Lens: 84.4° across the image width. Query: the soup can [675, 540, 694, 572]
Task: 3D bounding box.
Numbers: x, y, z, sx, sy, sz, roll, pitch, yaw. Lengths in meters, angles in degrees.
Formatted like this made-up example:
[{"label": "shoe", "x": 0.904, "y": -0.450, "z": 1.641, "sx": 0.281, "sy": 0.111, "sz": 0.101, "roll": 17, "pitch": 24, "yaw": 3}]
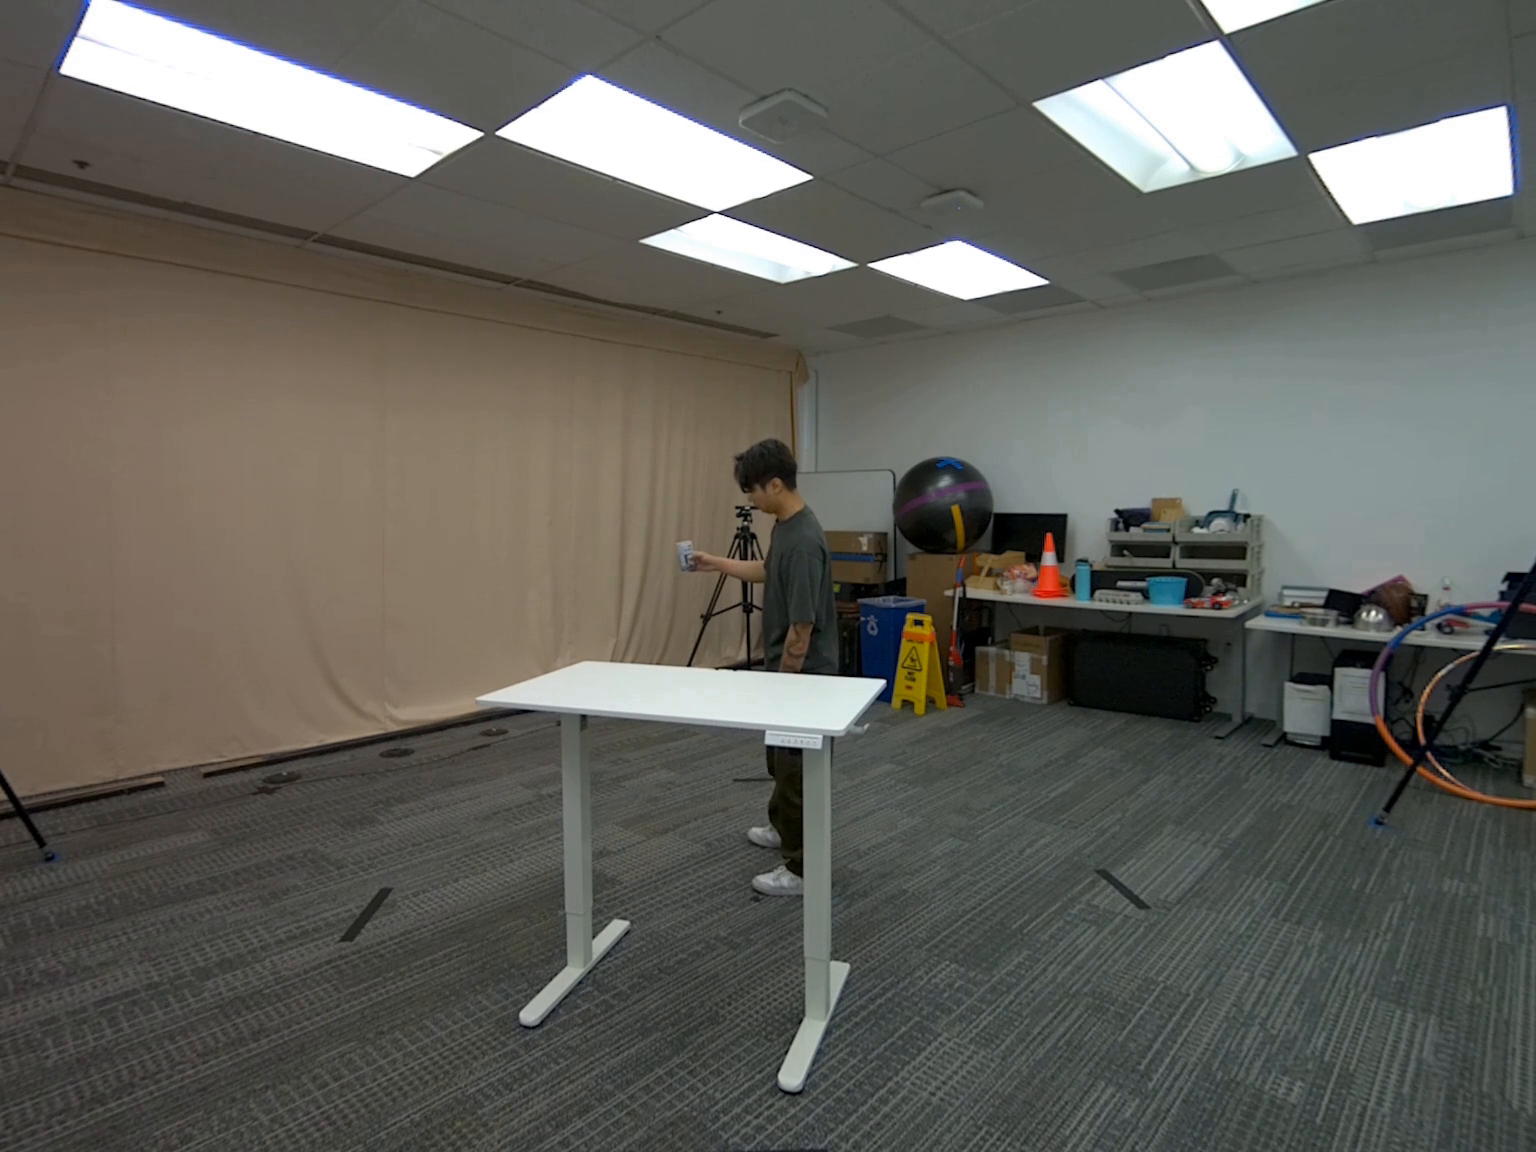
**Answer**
[{"label": "soup can", "x": -0.337, "y": -0.083, "z": 3.514, "sx": 0.067, "sy": 0.121, "sz": 0.067, "roll": -10, "pitch": 1, "yaw": -2}]
